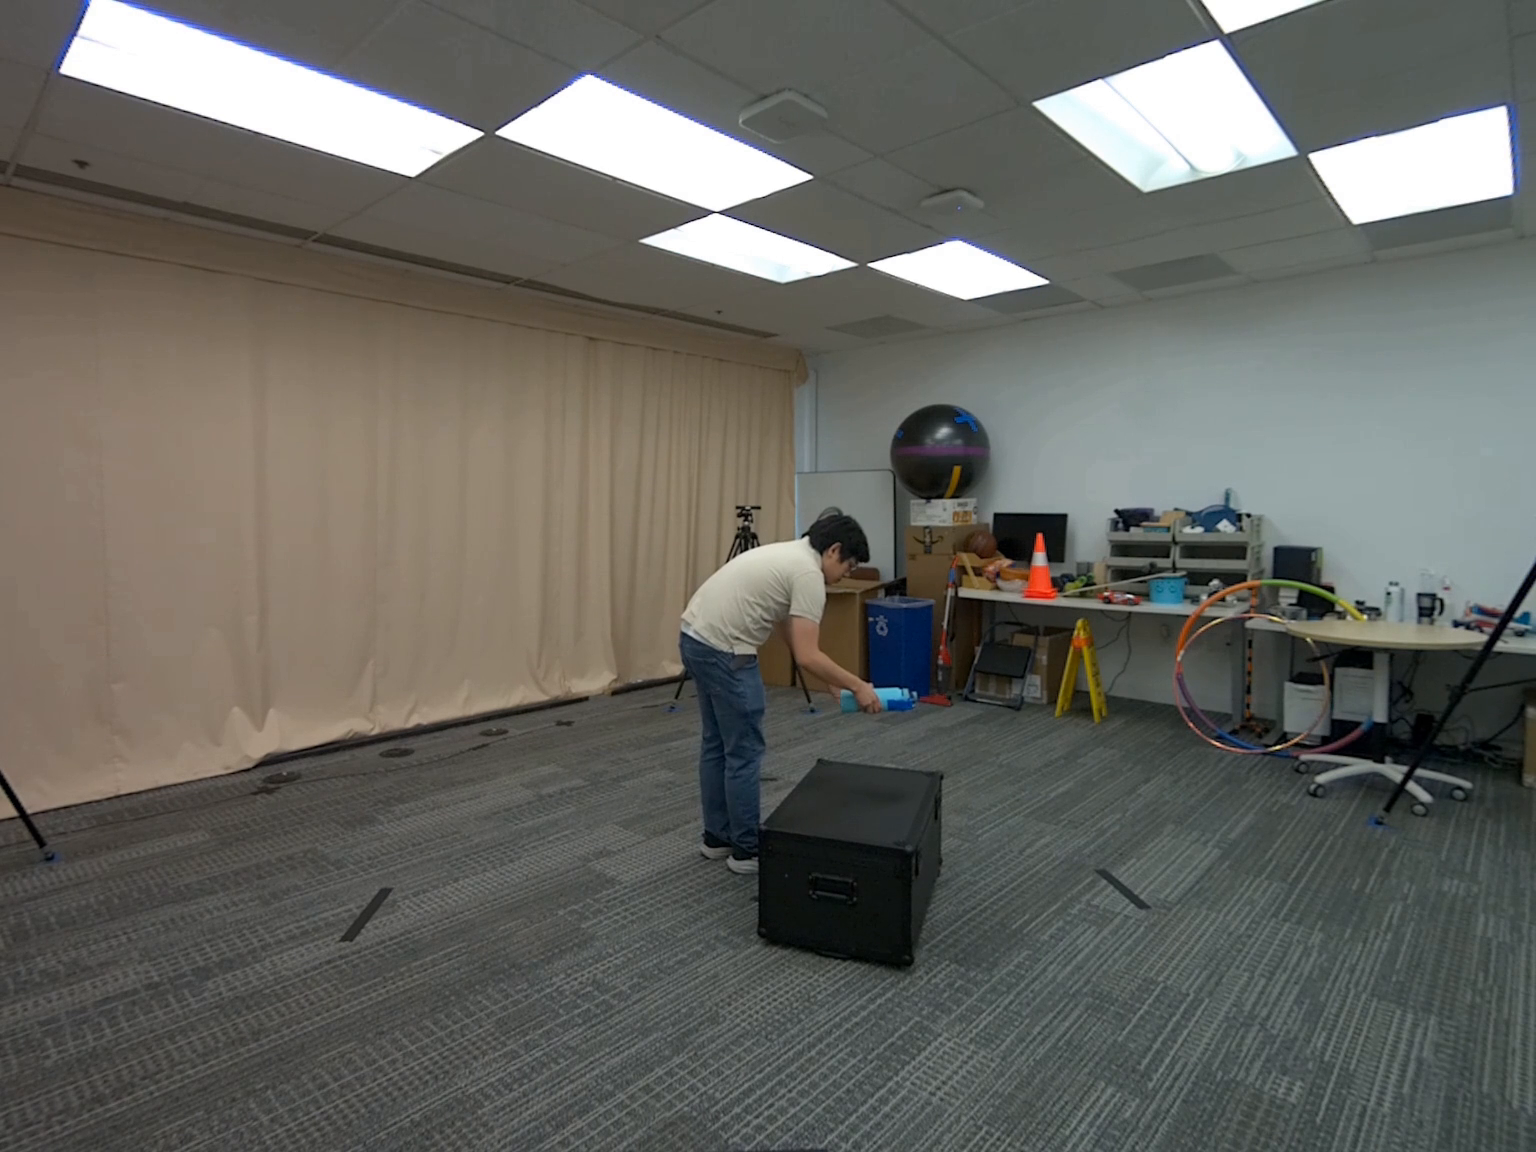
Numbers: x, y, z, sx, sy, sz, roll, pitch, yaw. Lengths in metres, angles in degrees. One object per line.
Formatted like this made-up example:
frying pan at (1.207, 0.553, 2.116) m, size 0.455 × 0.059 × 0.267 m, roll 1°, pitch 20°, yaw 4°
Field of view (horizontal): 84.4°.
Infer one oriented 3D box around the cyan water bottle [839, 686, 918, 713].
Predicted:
cyan water bottle at (0.431, 0.474, 3.201) m, size 0.288 × 0.092 × 0.091 m, roll -2°, pitch 3°, yaw 17°
